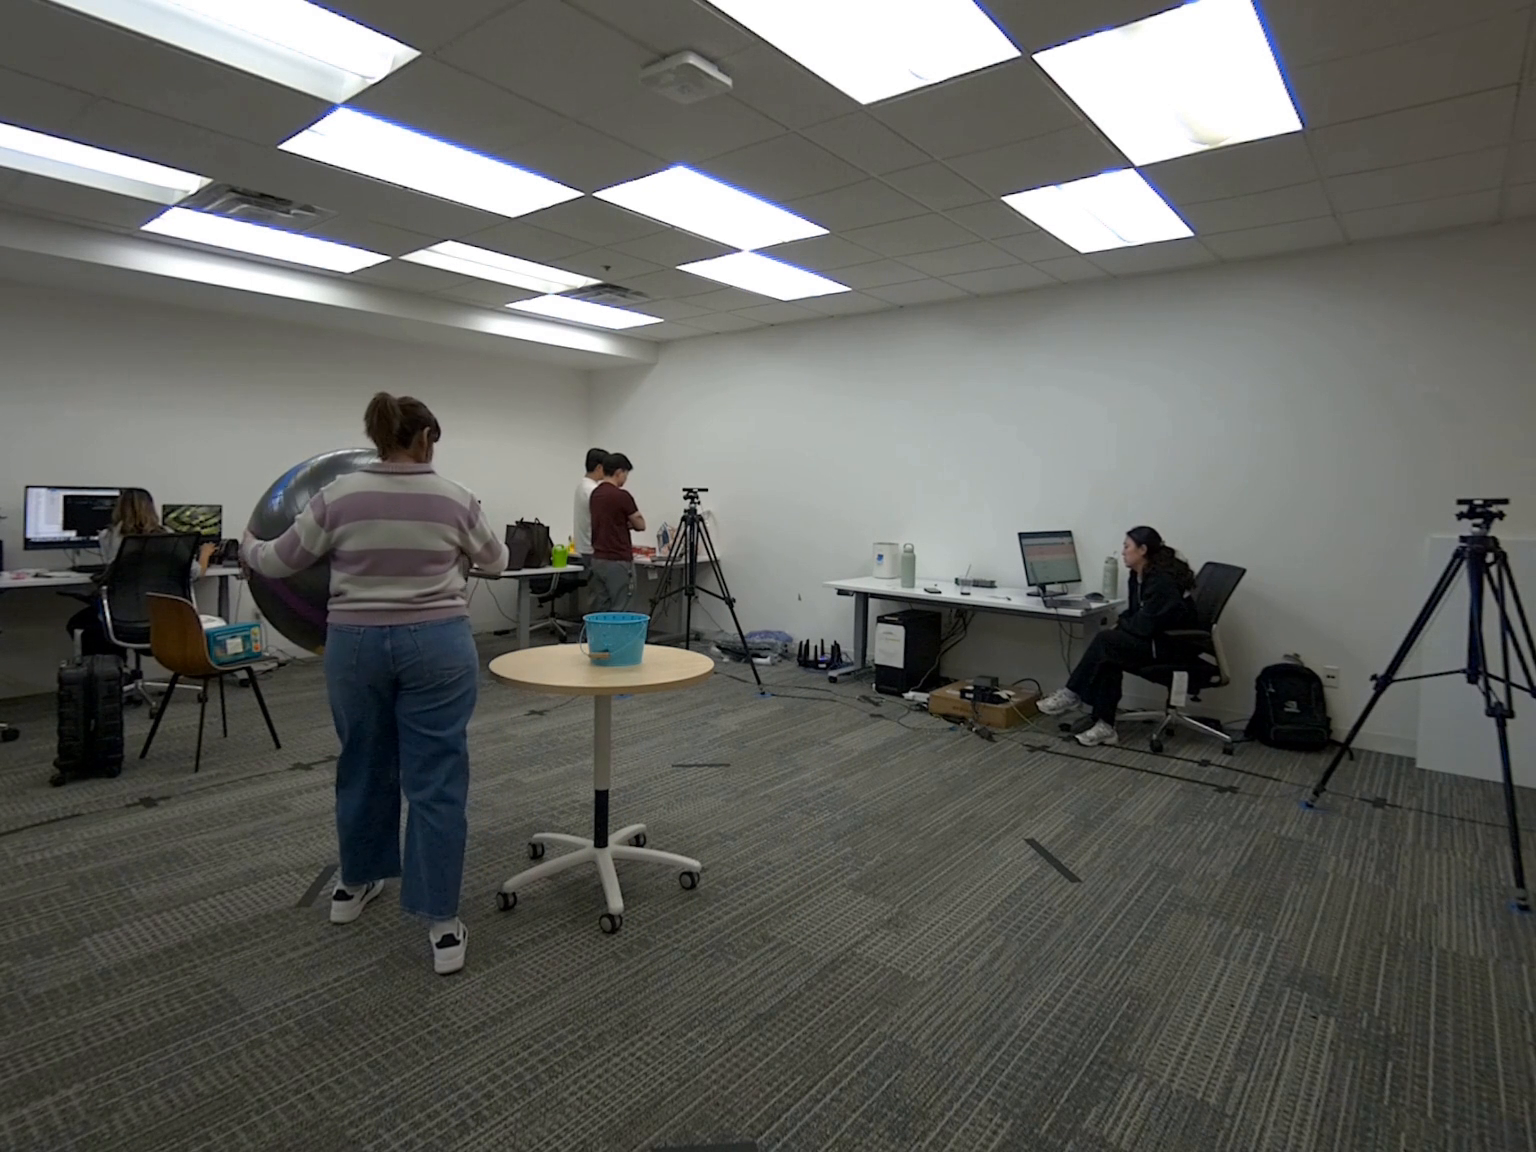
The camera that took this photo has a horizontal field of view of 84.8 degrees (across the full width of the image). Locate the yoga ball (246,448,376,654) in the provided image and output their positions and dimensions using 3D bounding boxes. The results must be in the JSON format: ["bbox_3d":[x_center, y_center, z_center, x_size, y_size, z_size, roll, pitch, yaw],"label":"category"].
[{"bbox_3d":[-1.478,-0.072,3.051,0.757,0.755,0.762,1,4,-2],"label":"yoga ball"}]
